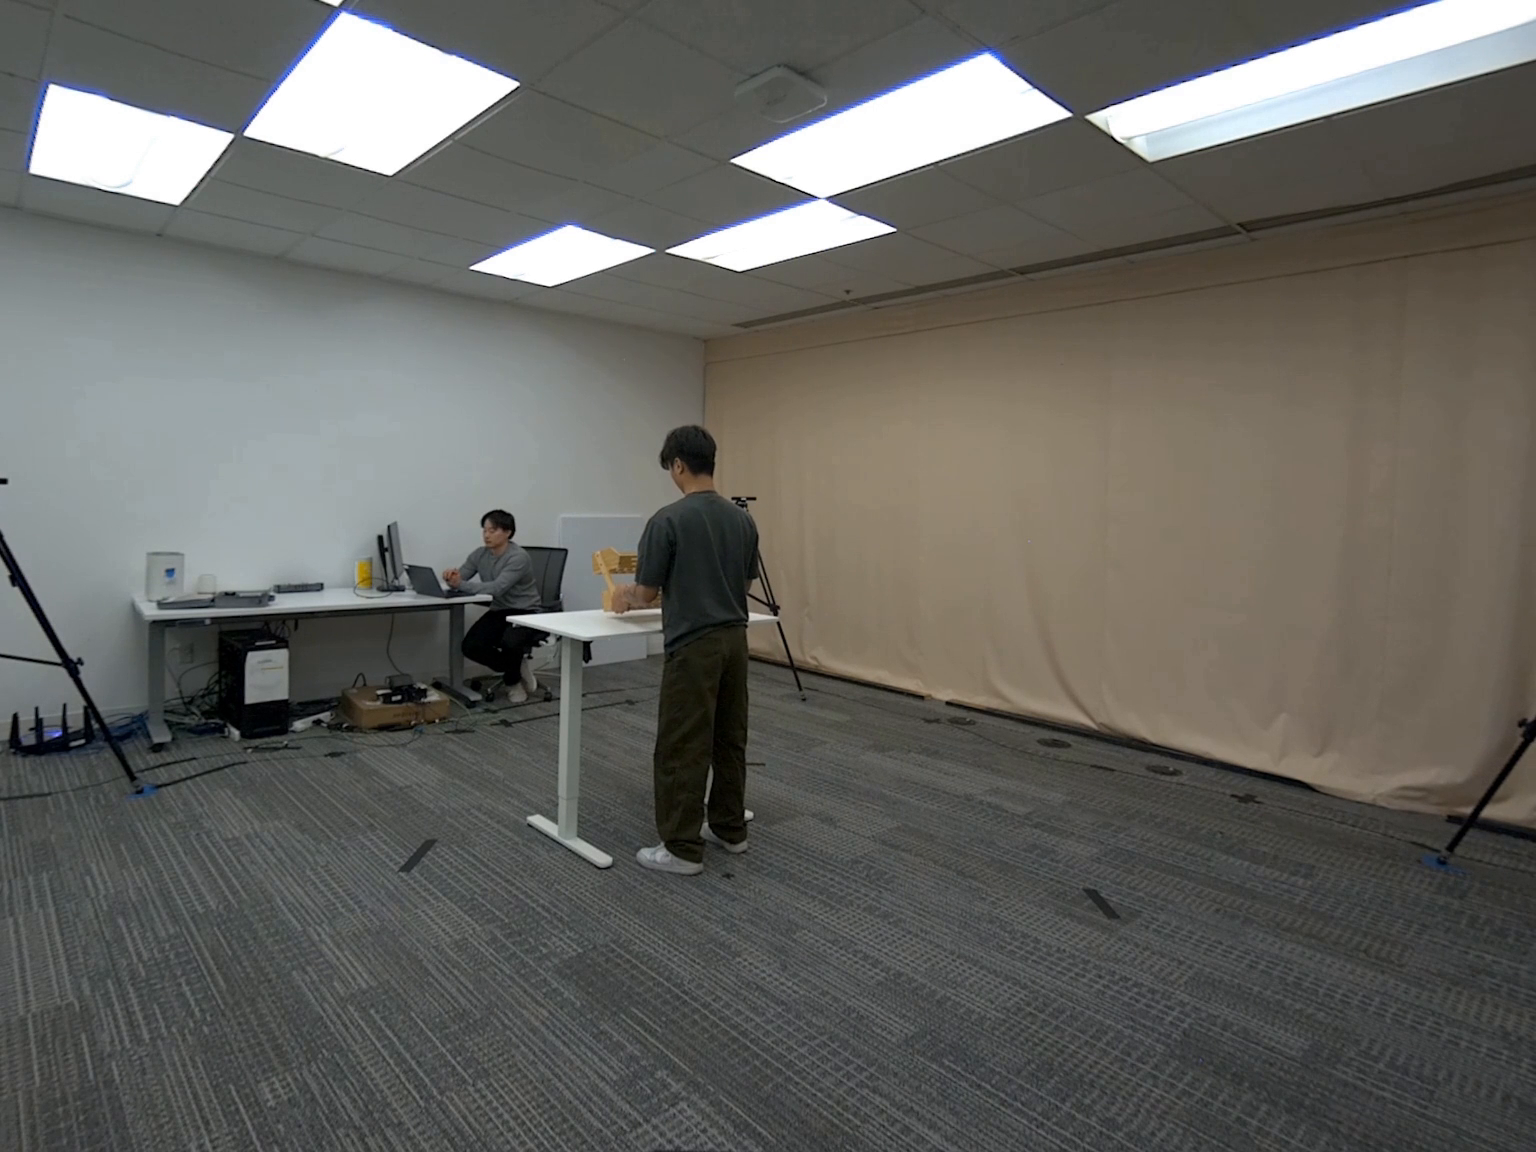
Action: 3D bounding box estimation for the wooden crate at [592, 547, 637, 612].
[{"bbox_3d":[-0.531,0.004,3.554,0.317,0.275,0.307,-1,-8,-44],"label":"wooden crate"}]
